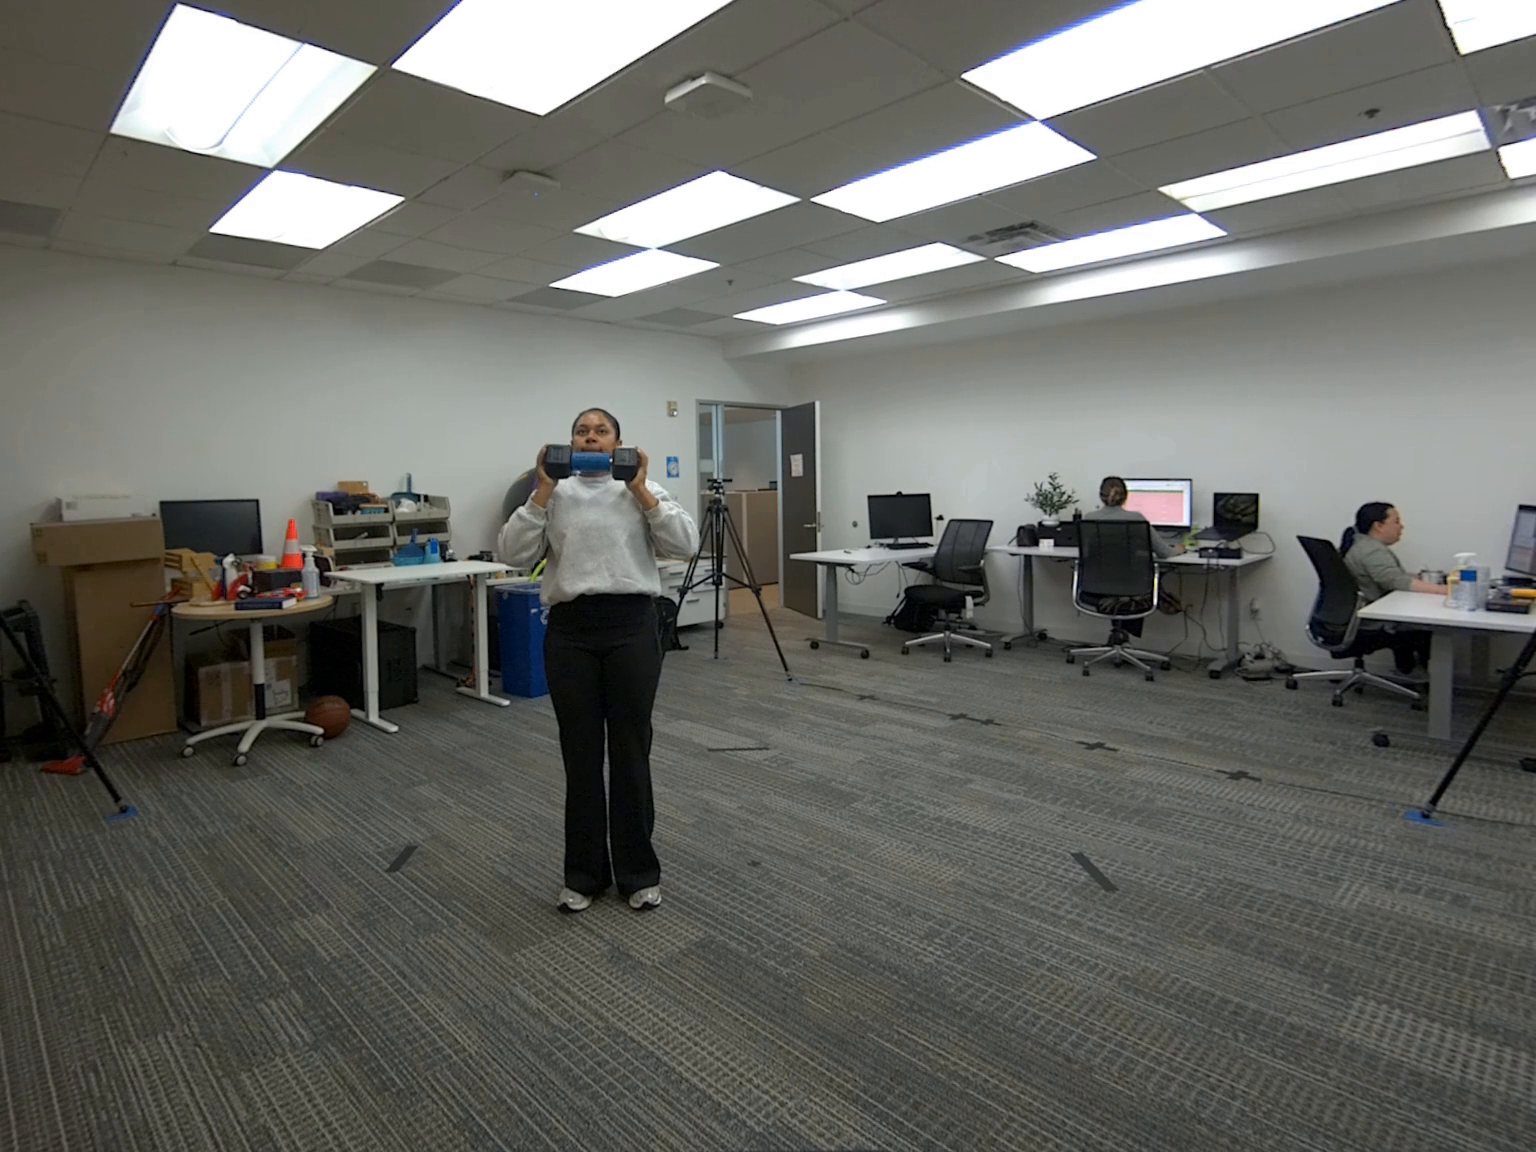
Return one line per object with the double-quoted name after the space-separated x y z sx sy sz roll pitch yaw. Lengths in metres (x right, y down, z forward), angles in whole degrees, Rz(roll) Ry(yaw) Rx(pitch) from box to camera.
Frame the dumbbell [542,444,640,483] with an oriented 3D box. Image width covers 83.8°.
-0.568 -0.374 2.757 0.292 0.120 0.112 4 42 -4 "dumbbell"
